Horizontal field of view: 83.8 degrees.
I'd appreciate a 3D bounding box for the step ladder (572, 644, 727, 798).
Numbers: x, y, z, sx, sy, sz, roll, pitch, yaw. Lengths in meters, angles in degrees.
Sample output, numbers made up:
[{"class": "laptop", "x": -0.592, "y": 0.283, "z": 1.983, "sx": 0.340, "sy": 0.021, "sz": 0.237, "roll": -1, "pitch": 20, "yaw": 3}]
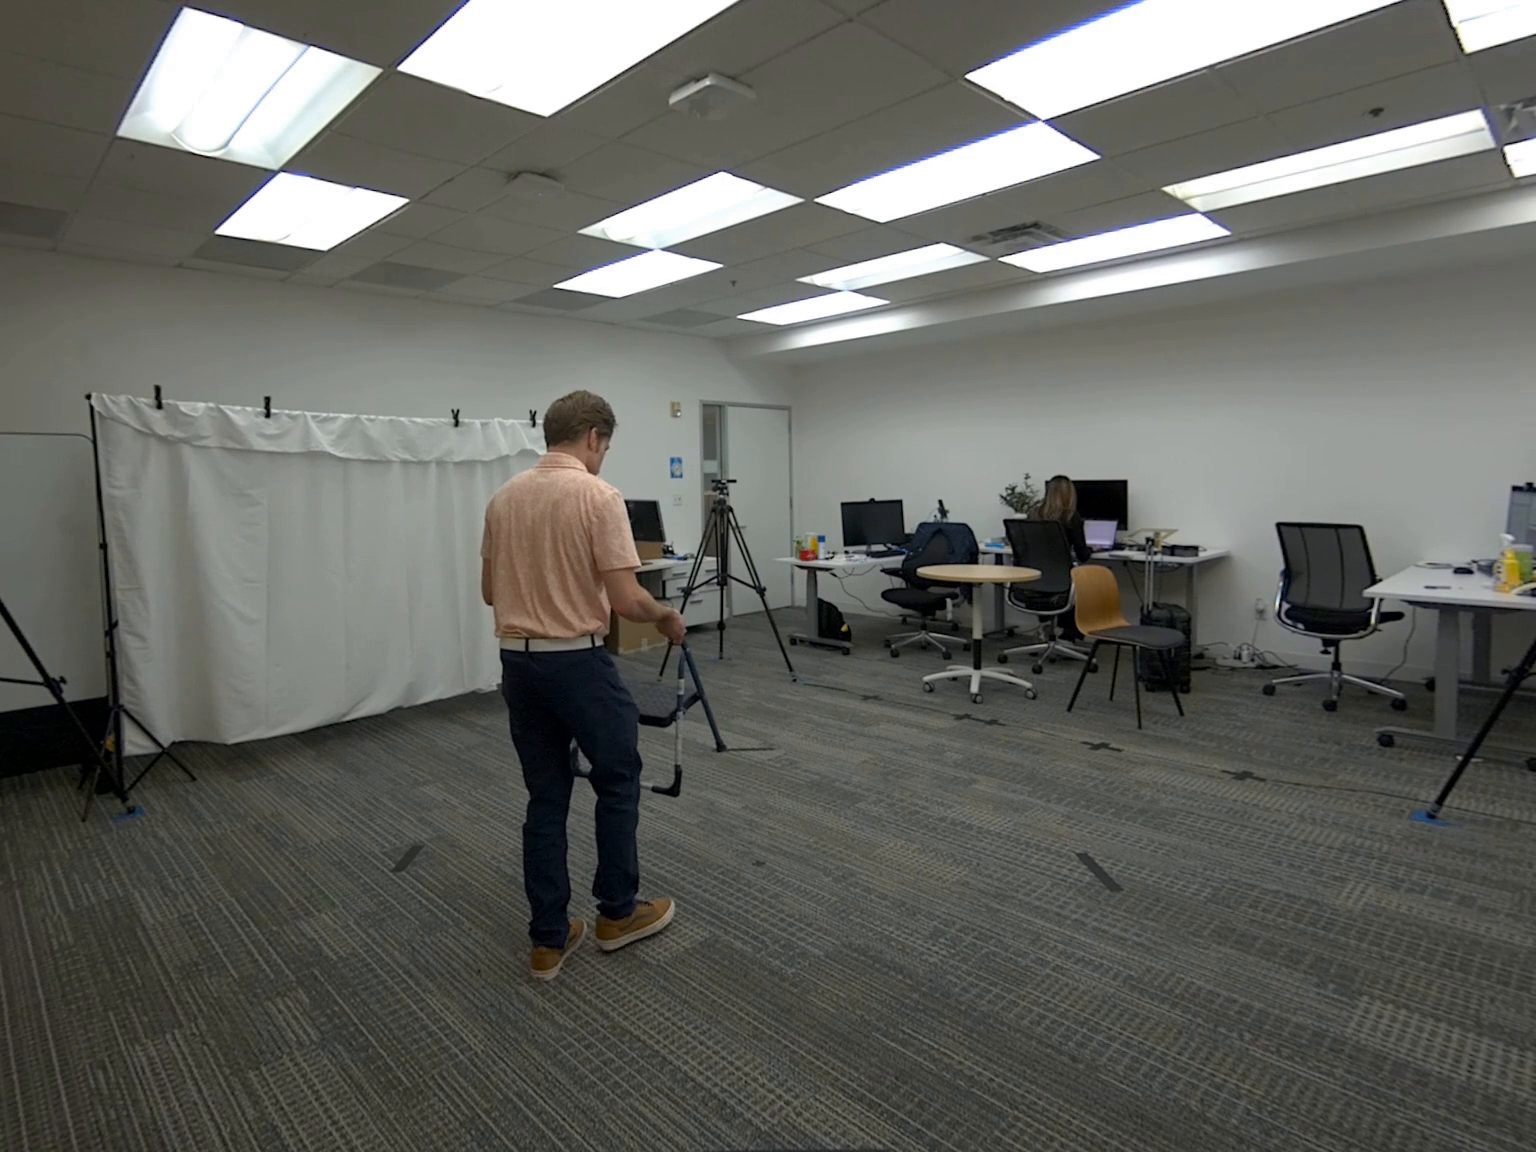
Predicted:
[{"class": "step ladder", "x": -0.420, "y": 0.349, "z": 2.835, "sx": 0.441, "sy": 0.597, "sz": 0.346, "roll": 3, "pitch": 17, "yaw": 25}]
